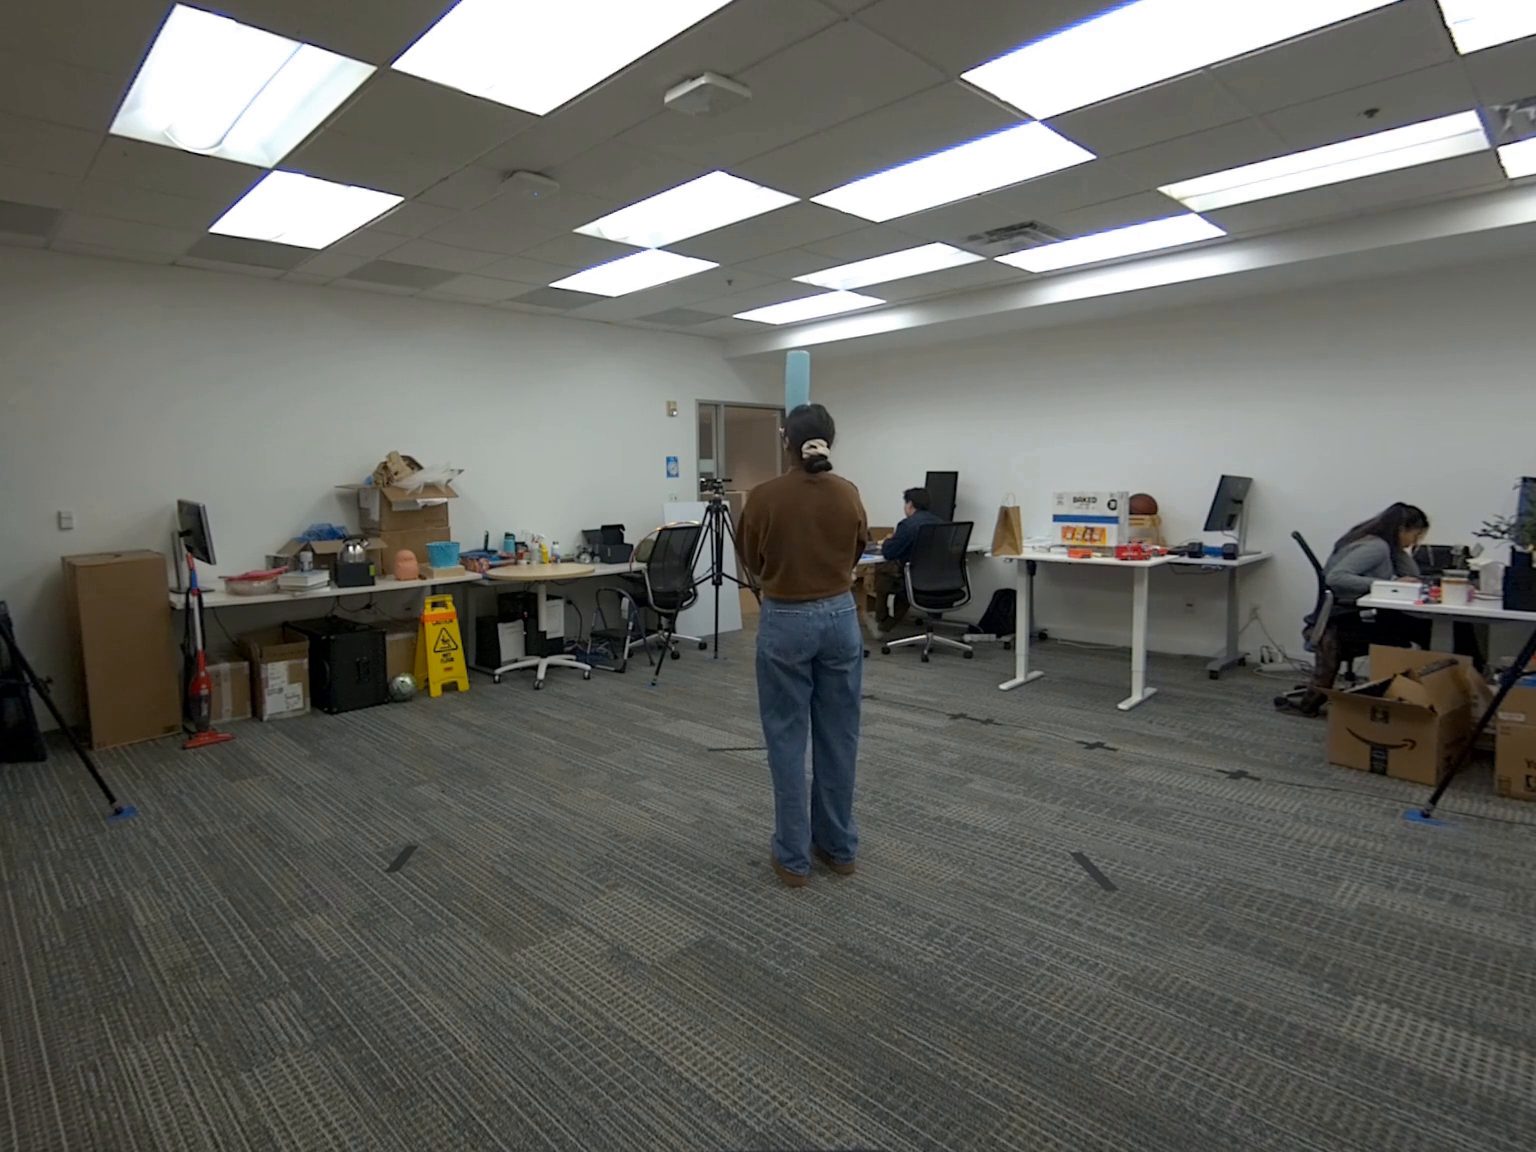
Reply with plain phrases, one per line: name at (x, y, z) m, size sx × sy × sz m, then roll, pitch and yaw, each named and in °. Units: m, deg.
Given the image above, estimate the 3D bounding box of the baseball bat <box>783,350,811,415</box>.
baseball bat at (0.113, -0.566, 3.163) m, size 0.089 × 0.544 × 0.089 m, roll 1°, pitch -2°, yaw -2°
